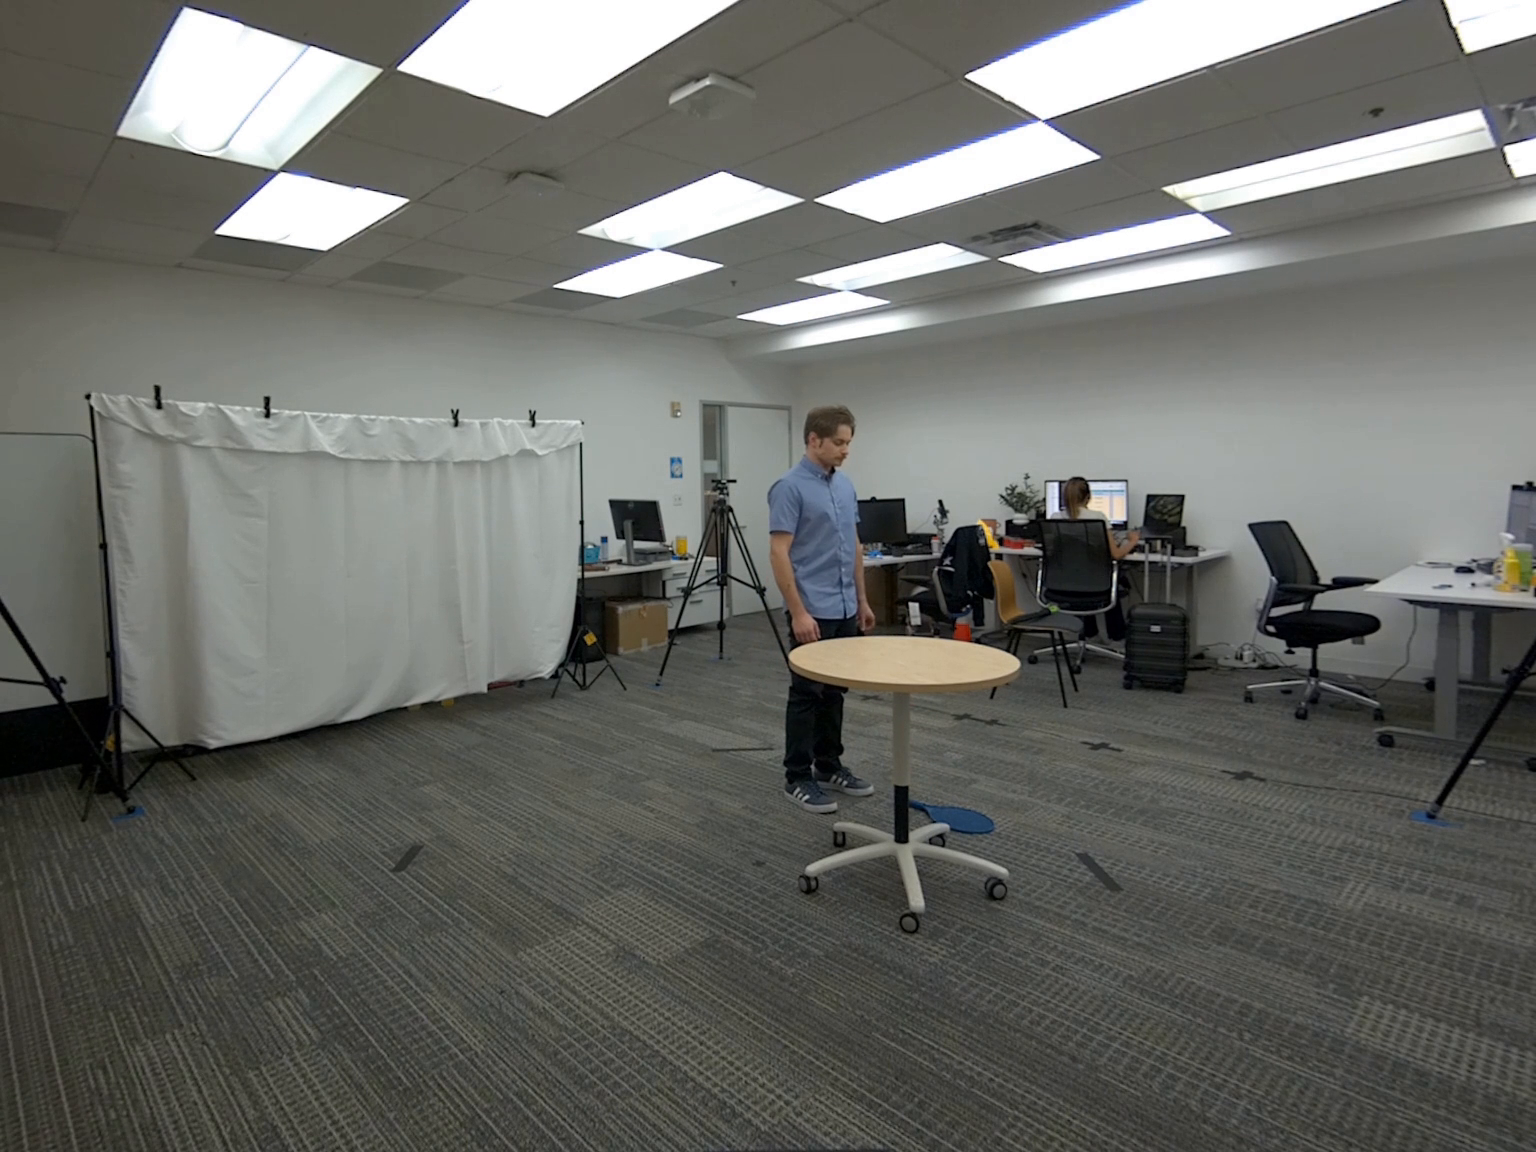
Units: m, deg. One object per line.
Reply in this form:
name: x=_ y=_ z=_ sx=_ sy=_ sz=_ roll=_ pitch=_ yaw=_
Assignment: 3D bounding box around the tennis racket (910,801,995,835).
tennis racket: x=0.725 y=0.977 z=3.517 sx=0.447 sy=0.031 sz=0.208 roll=6 pitch=10 yaw=44
